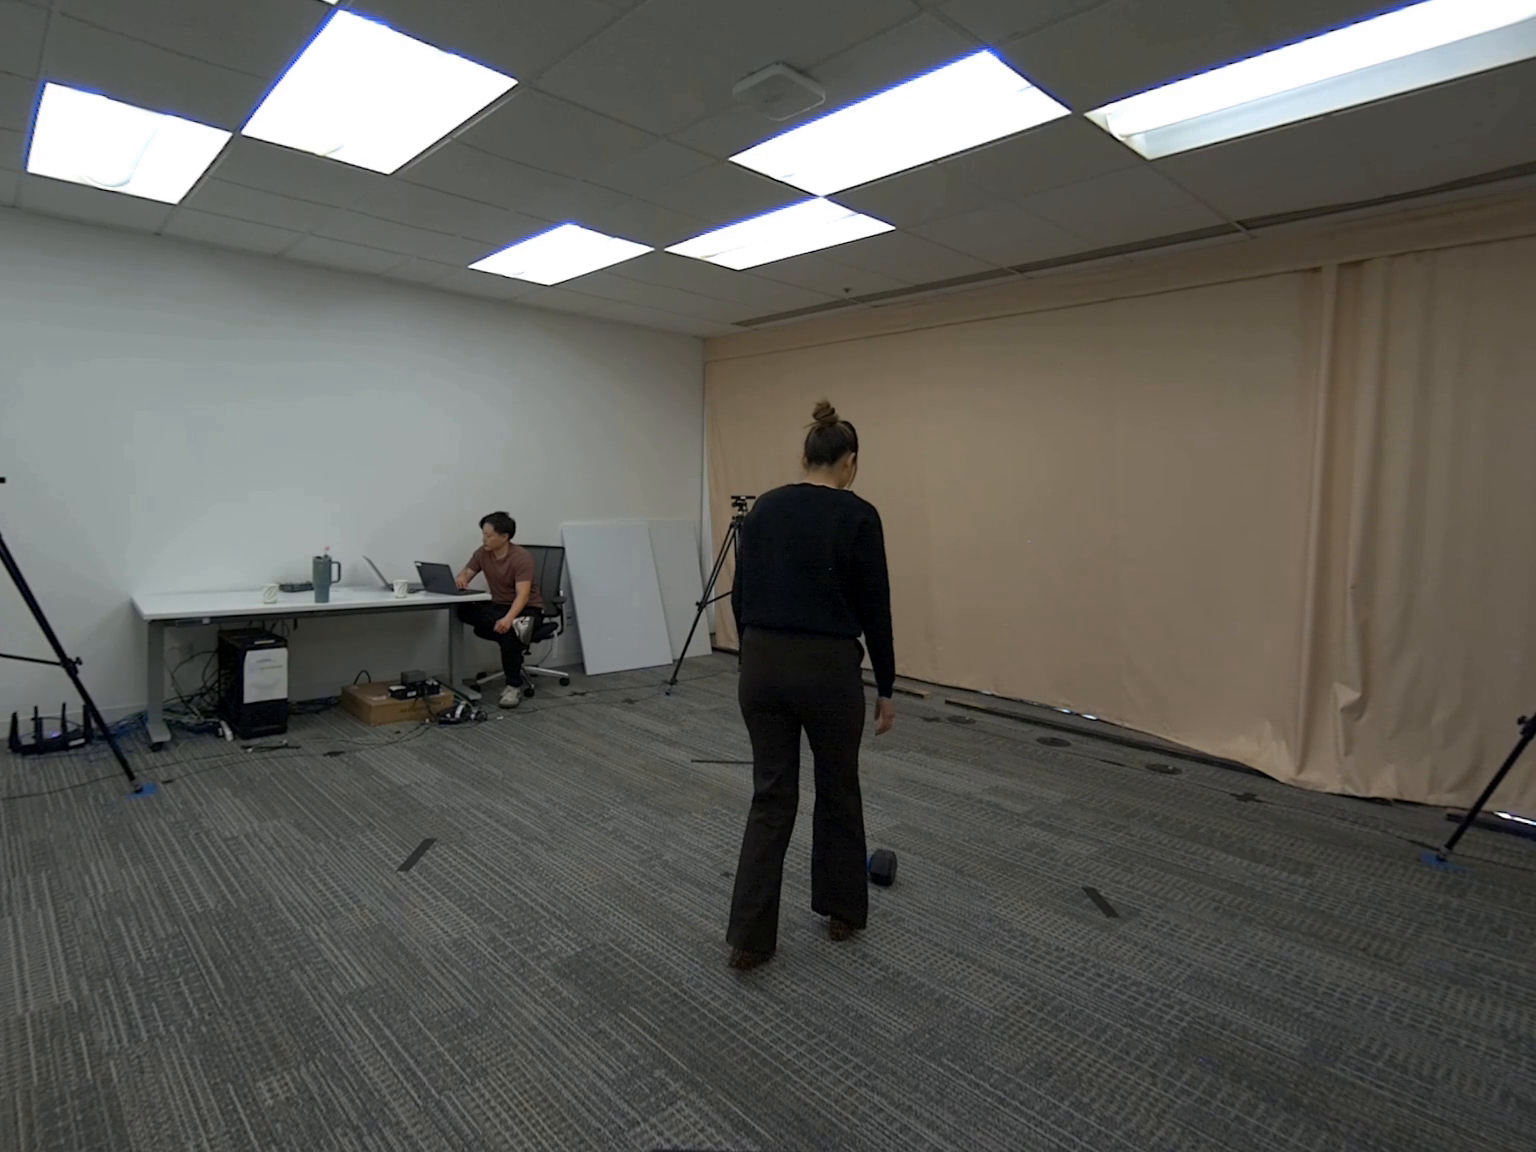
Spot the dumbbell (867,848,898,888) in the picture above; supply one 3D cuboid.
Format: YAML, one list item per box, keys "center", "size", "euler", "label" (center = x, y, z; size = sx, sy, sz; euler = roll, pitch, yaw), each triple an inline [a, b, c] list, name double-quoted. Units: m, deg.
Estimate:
- center: [0.319, 1.057, 3.118]
  size: [0.299, 0.108, 0.121]
  euler: [3, 7, 24]
  label: "dumbbell"
